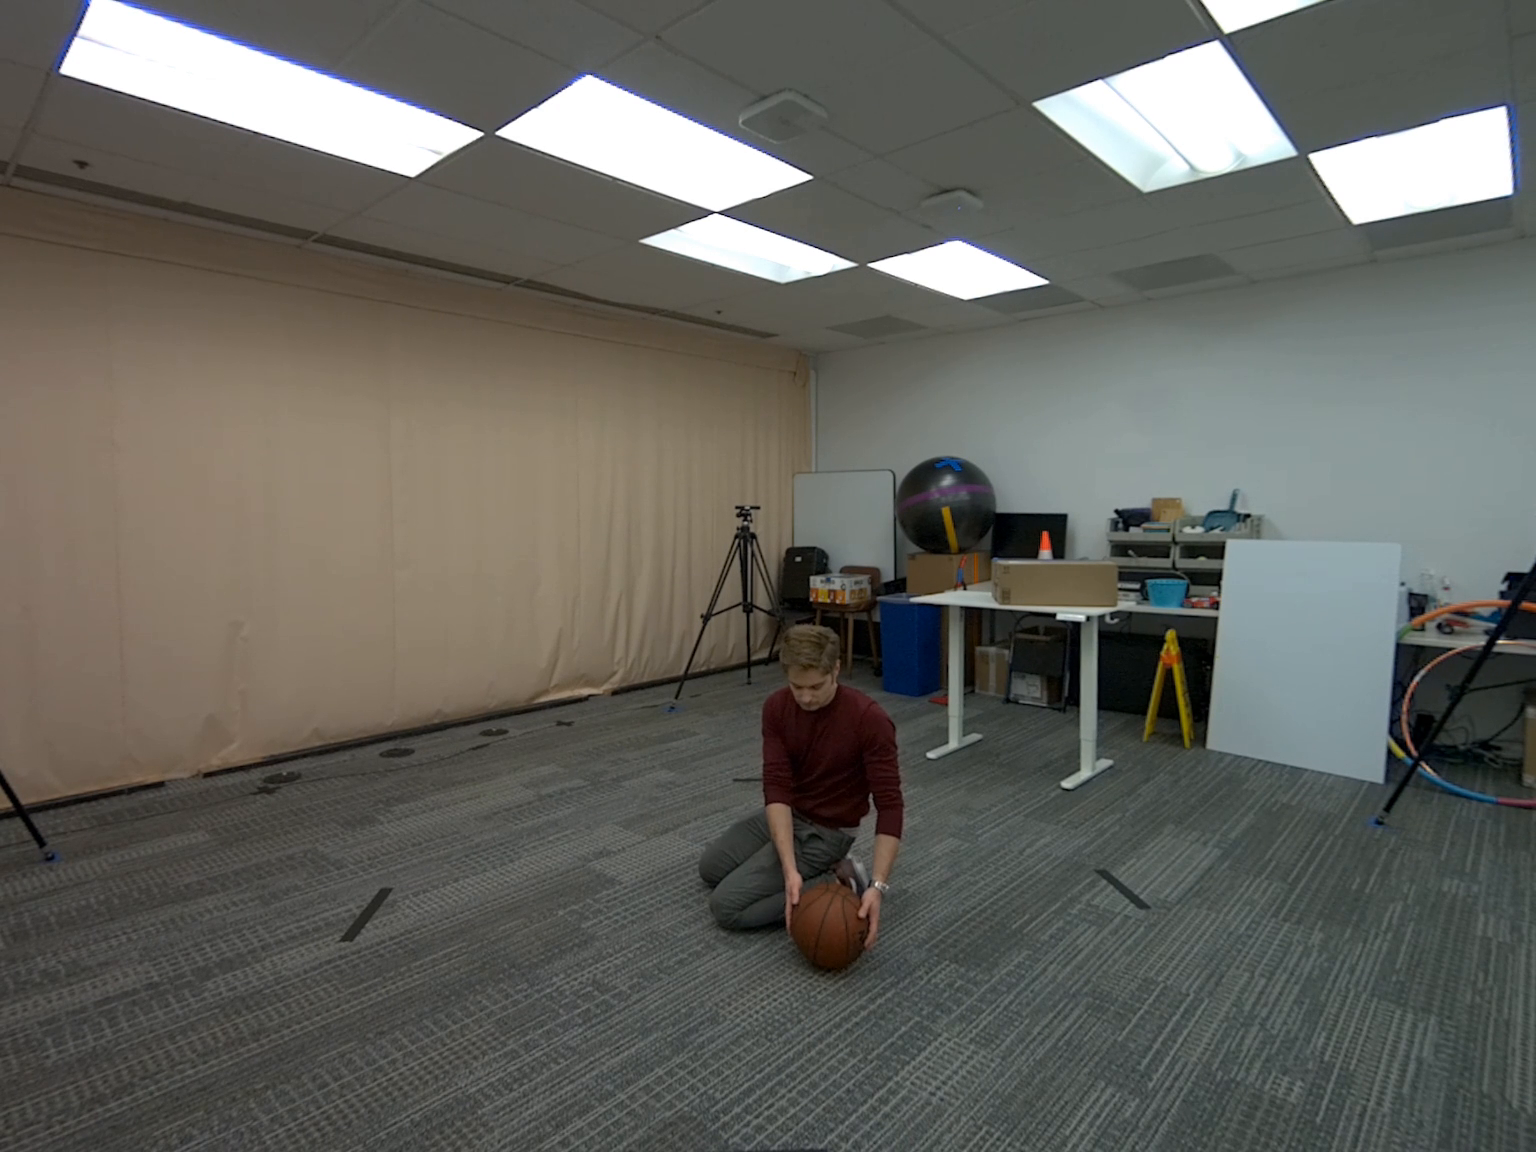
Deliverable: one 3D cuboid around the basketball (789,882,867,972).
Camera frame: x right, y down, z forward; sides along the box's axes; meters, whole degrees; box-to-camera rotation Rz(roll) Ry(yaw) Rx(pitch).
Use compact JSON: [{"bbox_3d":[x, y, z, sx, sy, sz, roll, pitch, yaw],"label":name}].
[{"bbox_3d":[0.185,1.039,2.550,0.236,0.235,0.237,0,4,-2],"label":"basketball"}]
